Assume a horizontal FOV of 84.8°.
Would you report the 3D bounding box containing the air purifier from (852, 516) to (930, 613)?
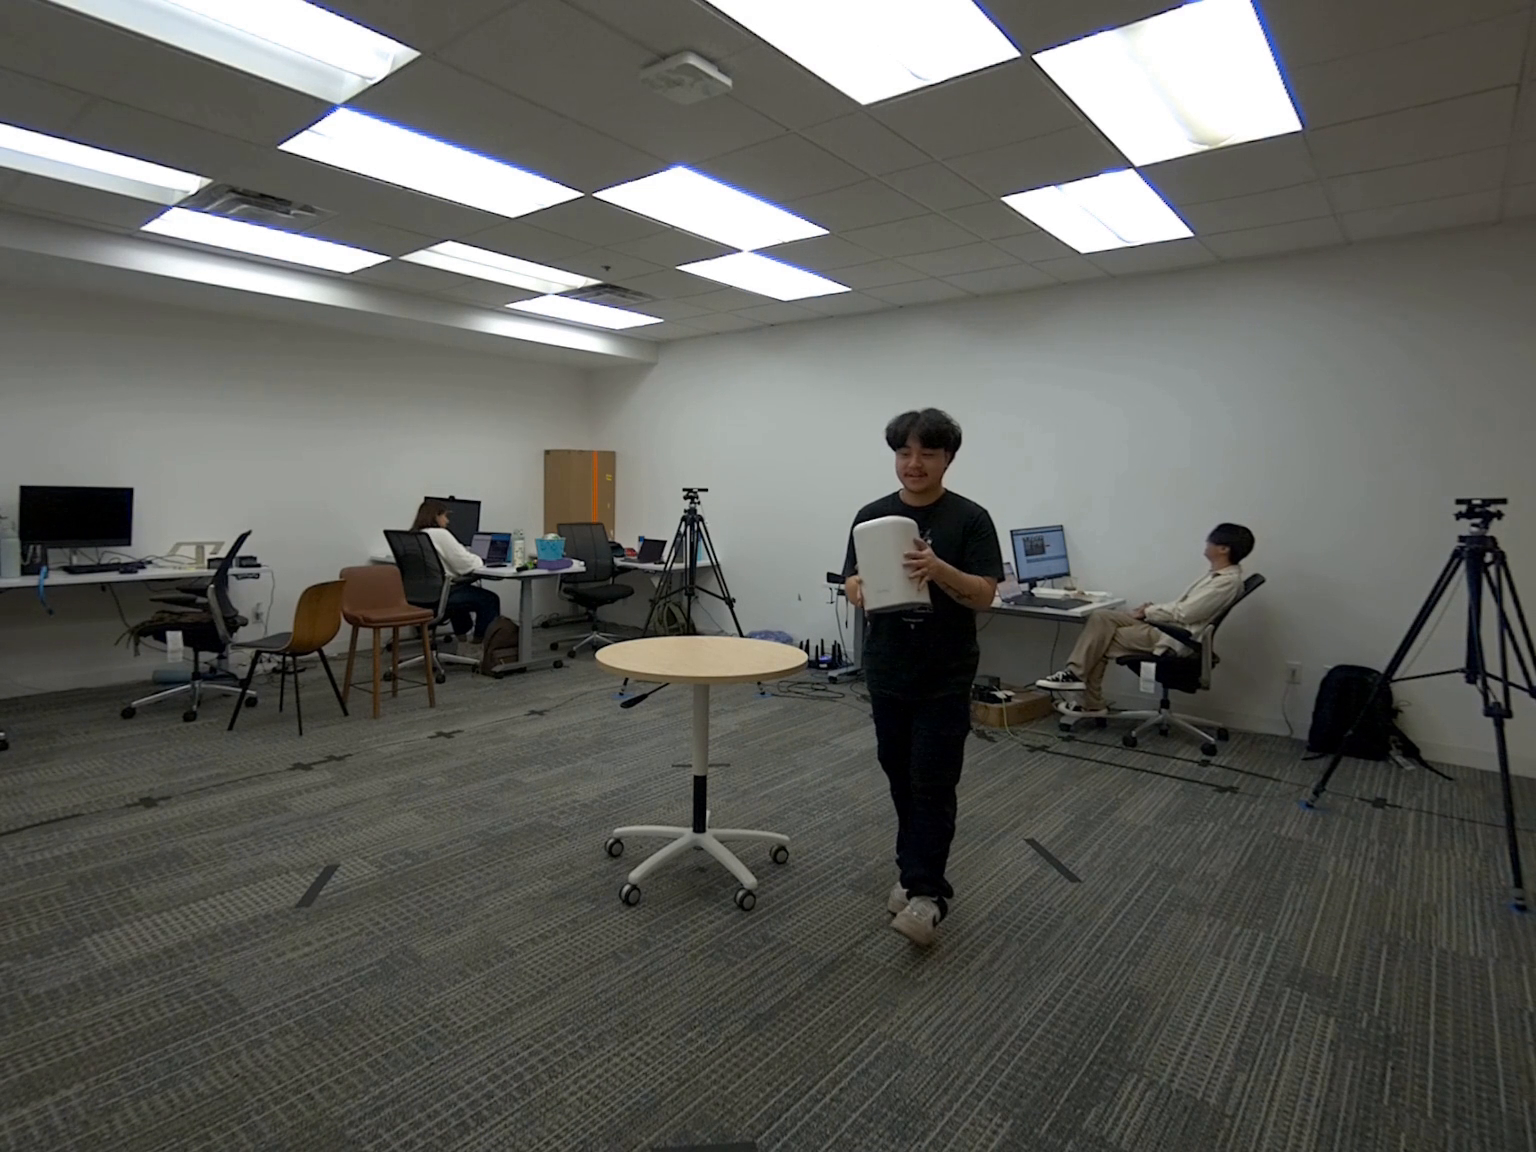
[{"bbox_3d":[0.360,-0.034,2.544,0.175,0.269,0.166,-15,-13,34],"label":"air purifier"}]
